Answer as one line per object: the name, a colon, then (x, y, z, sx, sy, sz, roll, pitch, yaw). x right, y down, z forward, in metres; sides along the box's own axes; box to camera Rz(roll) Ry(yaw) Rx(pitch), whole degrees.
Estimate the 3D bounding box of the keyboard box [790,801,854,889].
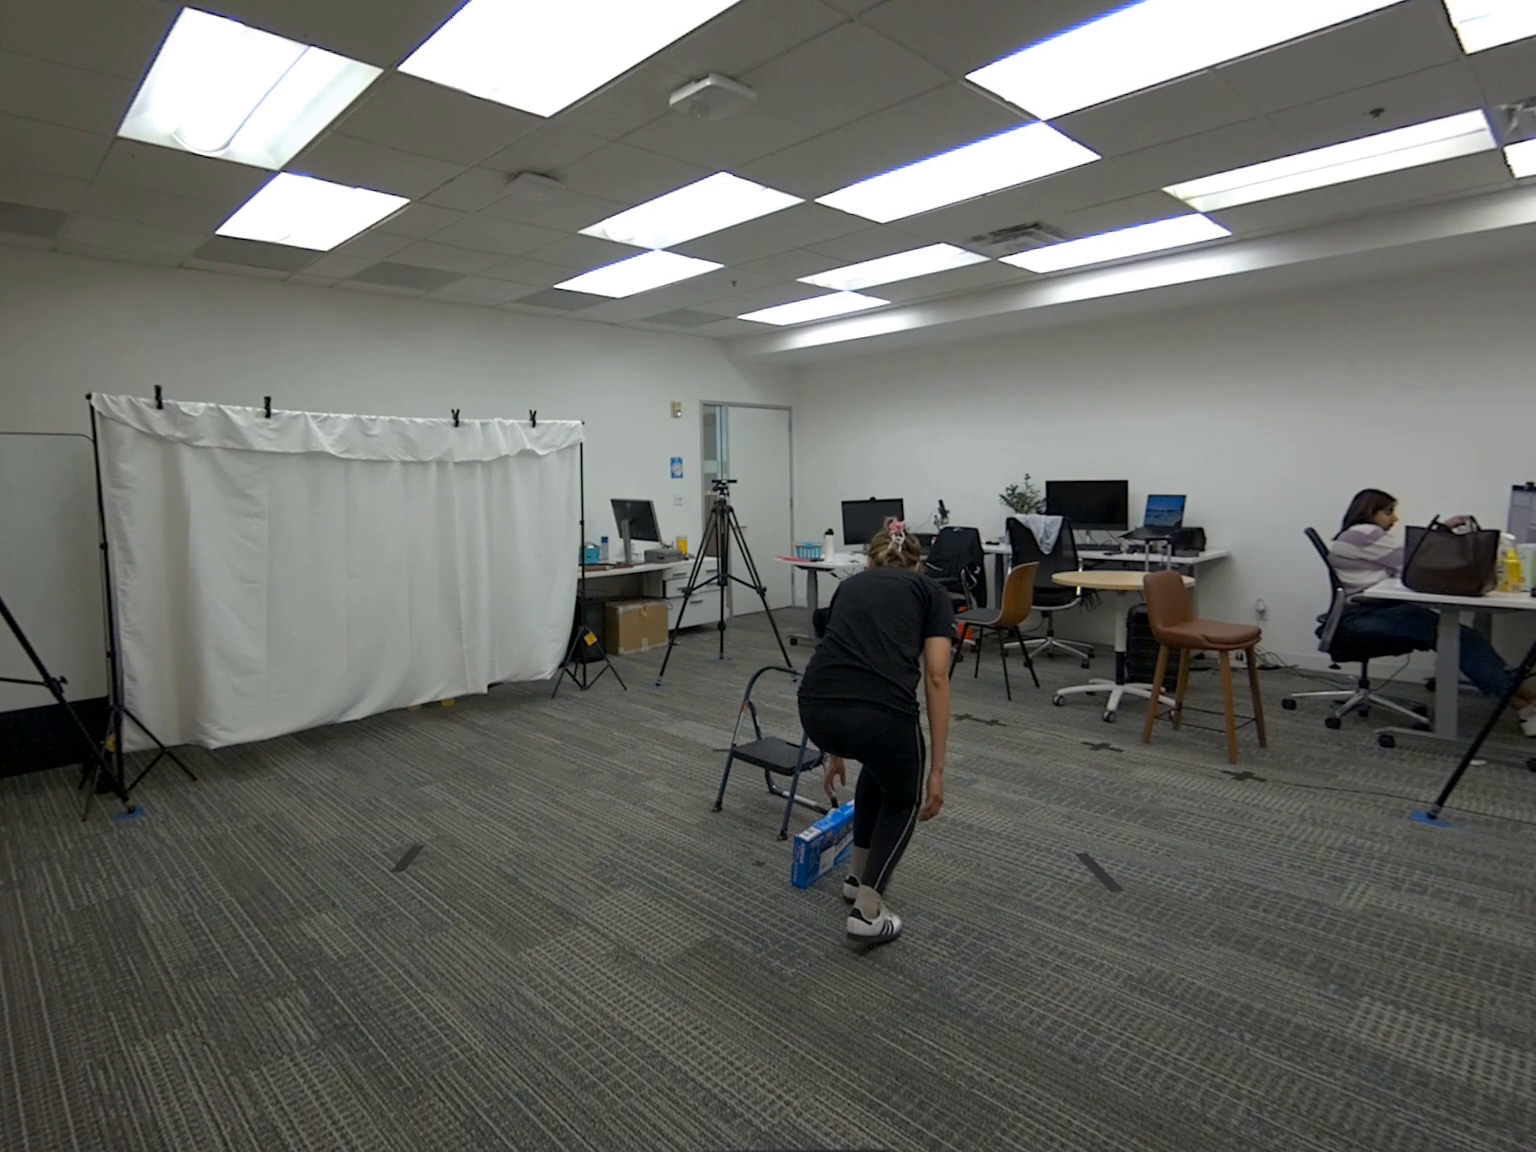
keyboard box: (0.234, 0.958, 3.087, 0.061, 0.175, 0.426, 8, 10, 34)
